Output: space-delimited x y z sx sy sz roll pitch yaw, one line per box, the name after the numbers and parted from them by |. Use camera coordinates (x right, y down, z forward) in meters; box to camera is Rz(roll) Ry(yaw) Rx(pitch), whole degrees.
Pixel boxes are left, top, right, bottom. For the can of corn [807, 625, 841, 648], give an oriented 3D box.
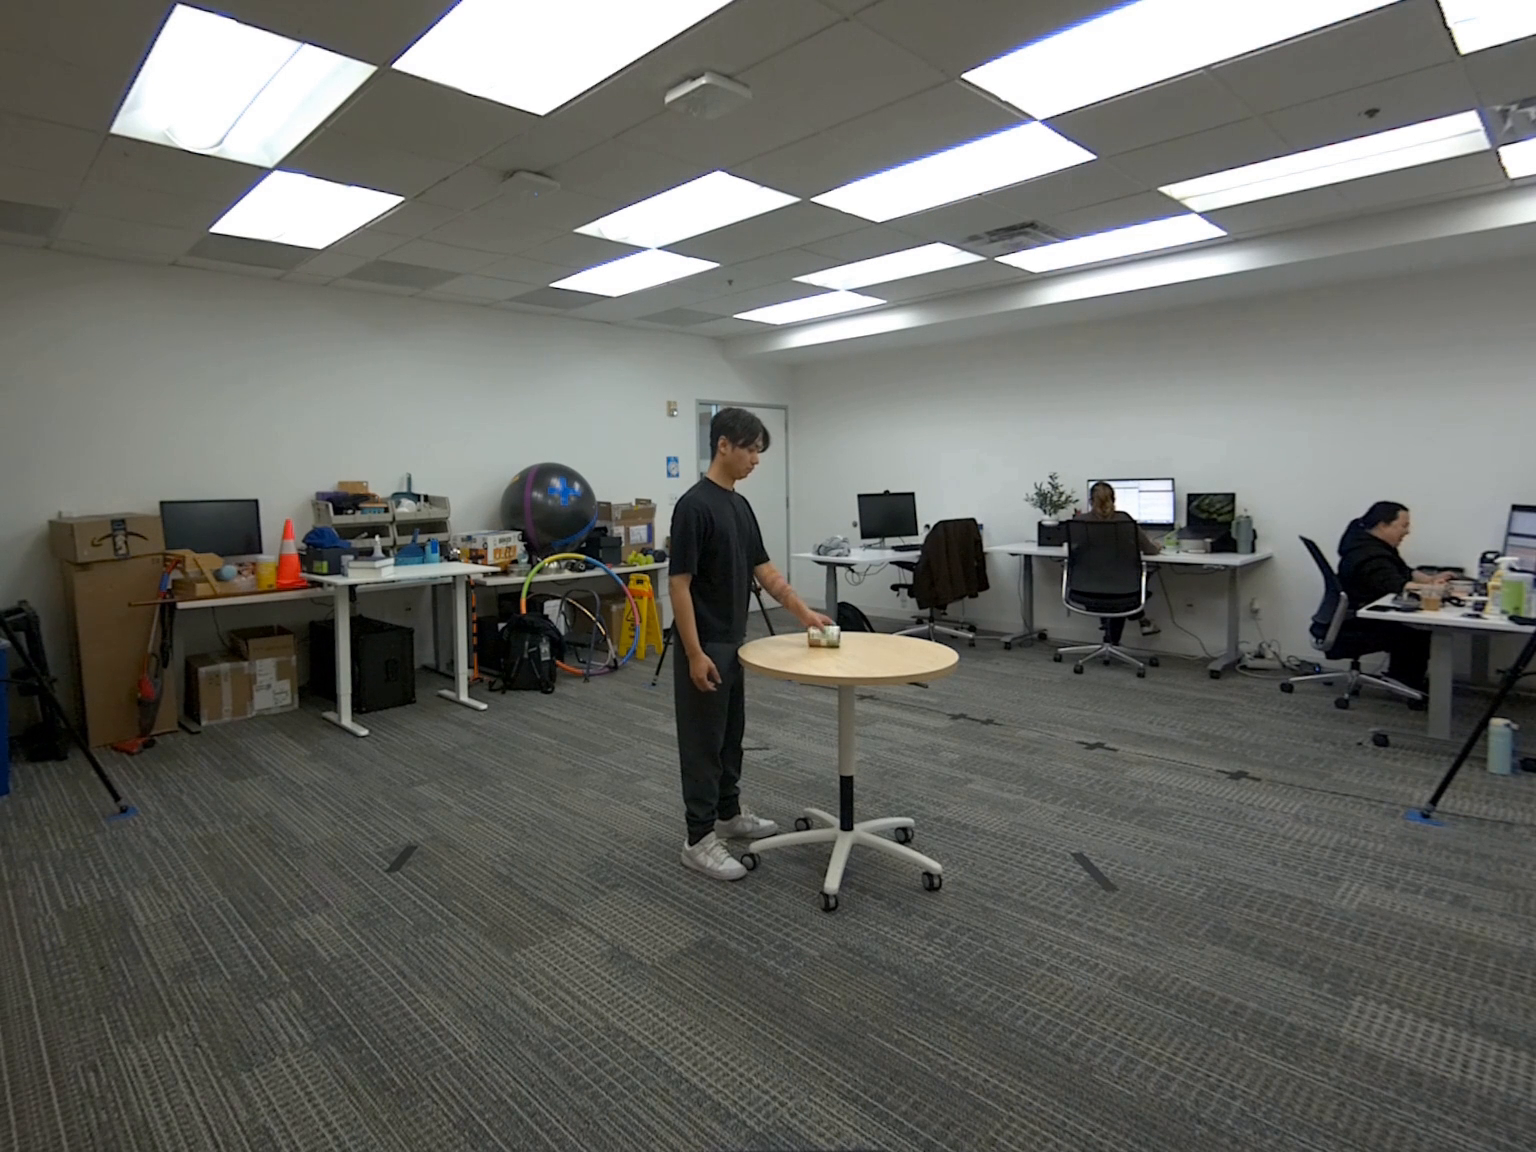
0.197 0.217 3.101 0.112 0.074 0.074 -1 5 7 | can of corn
